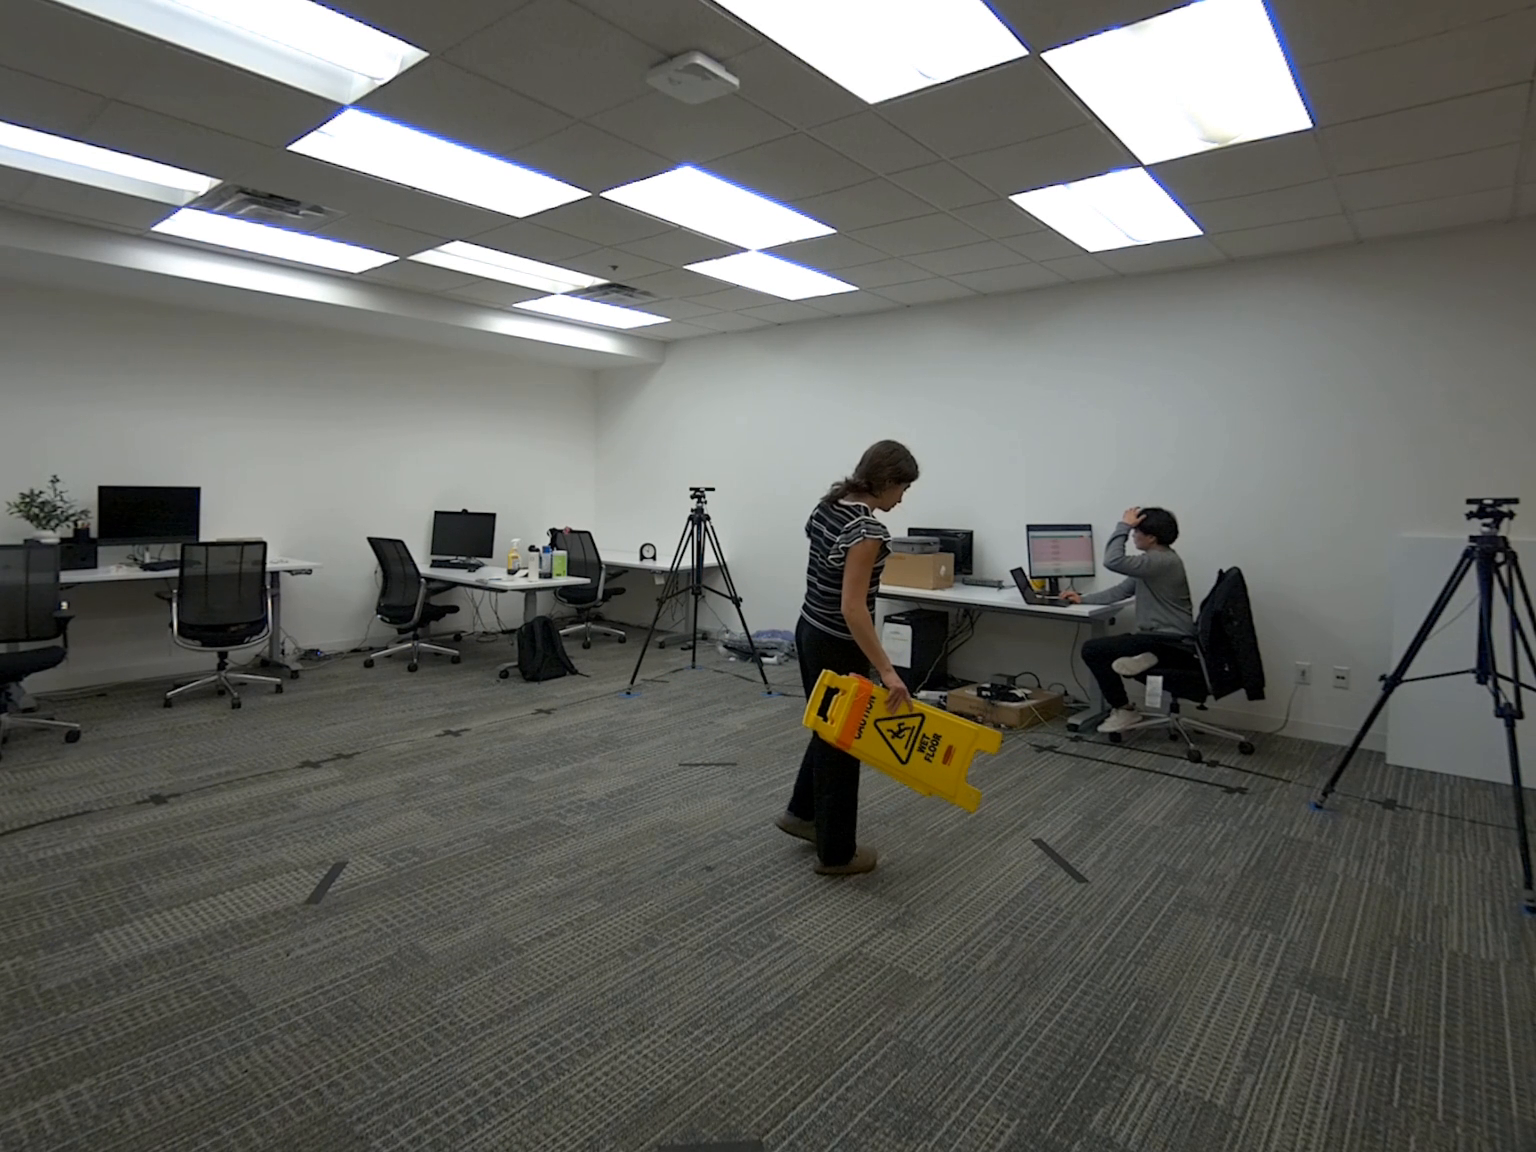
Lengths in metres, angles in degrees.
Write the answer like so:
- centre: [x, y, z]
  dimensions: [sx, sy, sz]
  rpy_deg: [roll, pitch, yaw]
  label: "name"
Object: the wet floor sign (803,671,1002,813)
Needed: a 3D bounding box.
- centre: [0.406, 0.524, 2.851]
  dimensions: [0.630, 0.283, 0.296]
  rpy_deg: [27, -10, -19]
  label: "wet floor sign"
